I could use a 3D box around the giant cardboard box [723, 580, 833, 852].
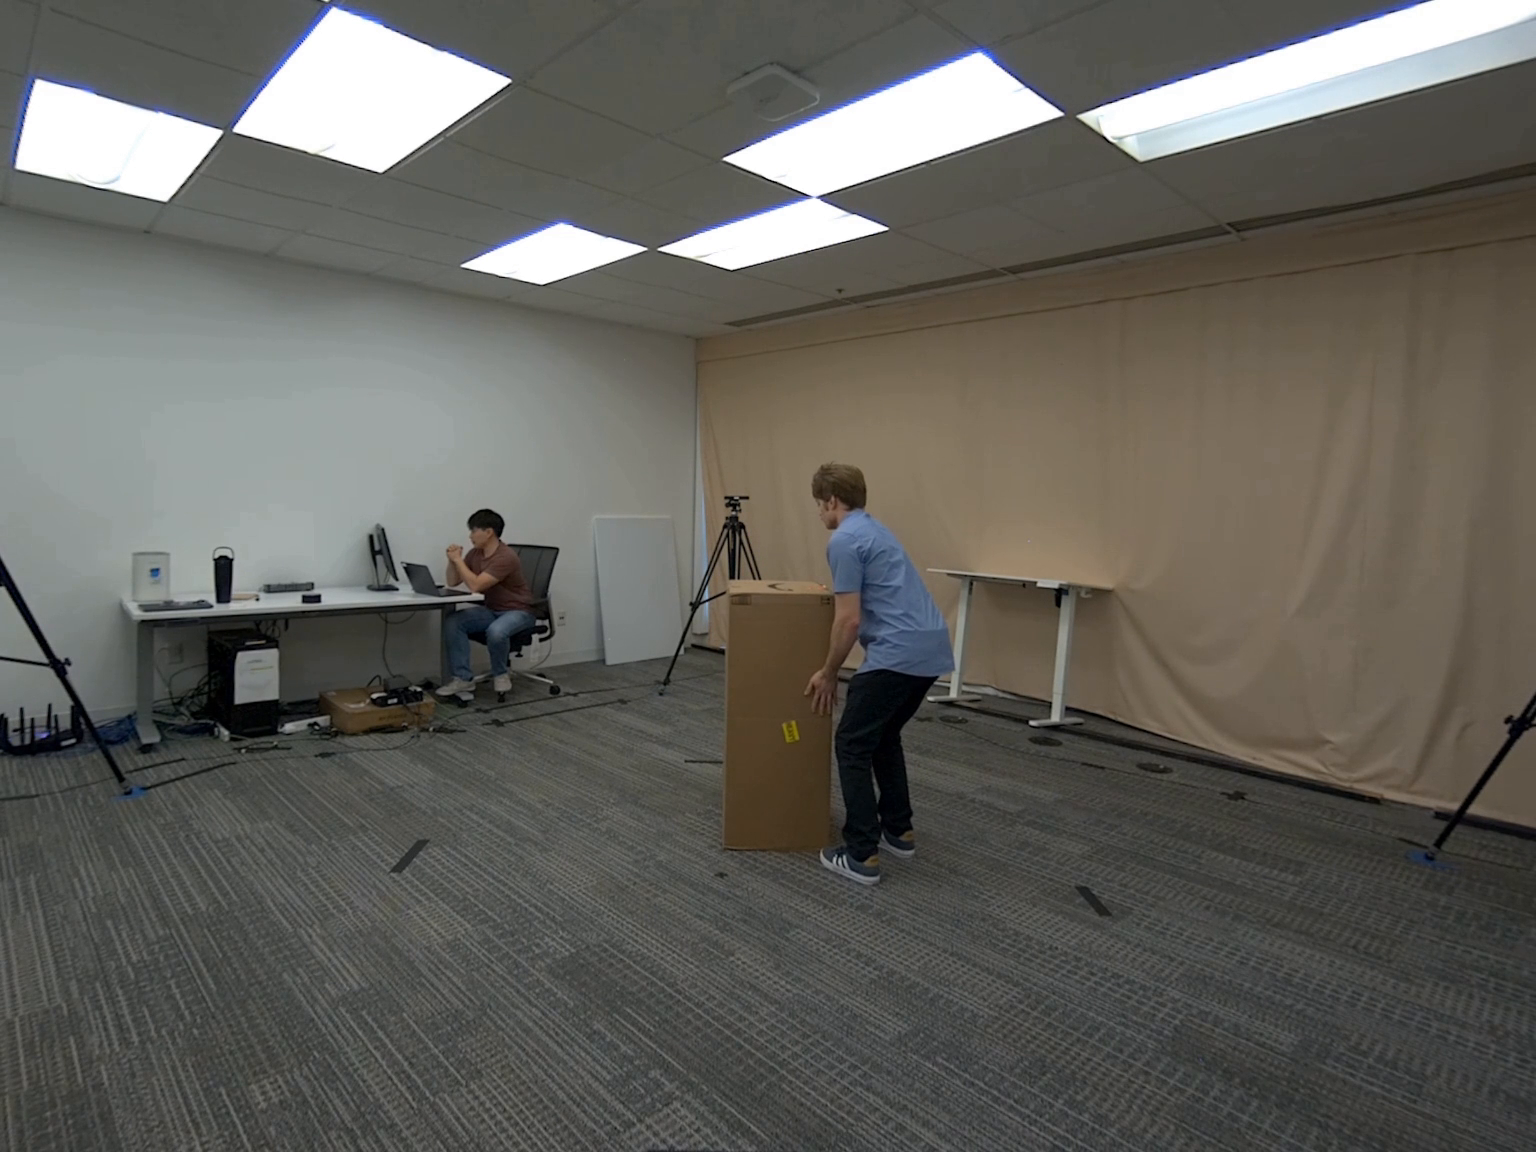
[{"bbox_3d":[0.023,0.557,3.602,0.426,1.024,0.579,2,3,-2],"label":"giant cardboard box"}]
